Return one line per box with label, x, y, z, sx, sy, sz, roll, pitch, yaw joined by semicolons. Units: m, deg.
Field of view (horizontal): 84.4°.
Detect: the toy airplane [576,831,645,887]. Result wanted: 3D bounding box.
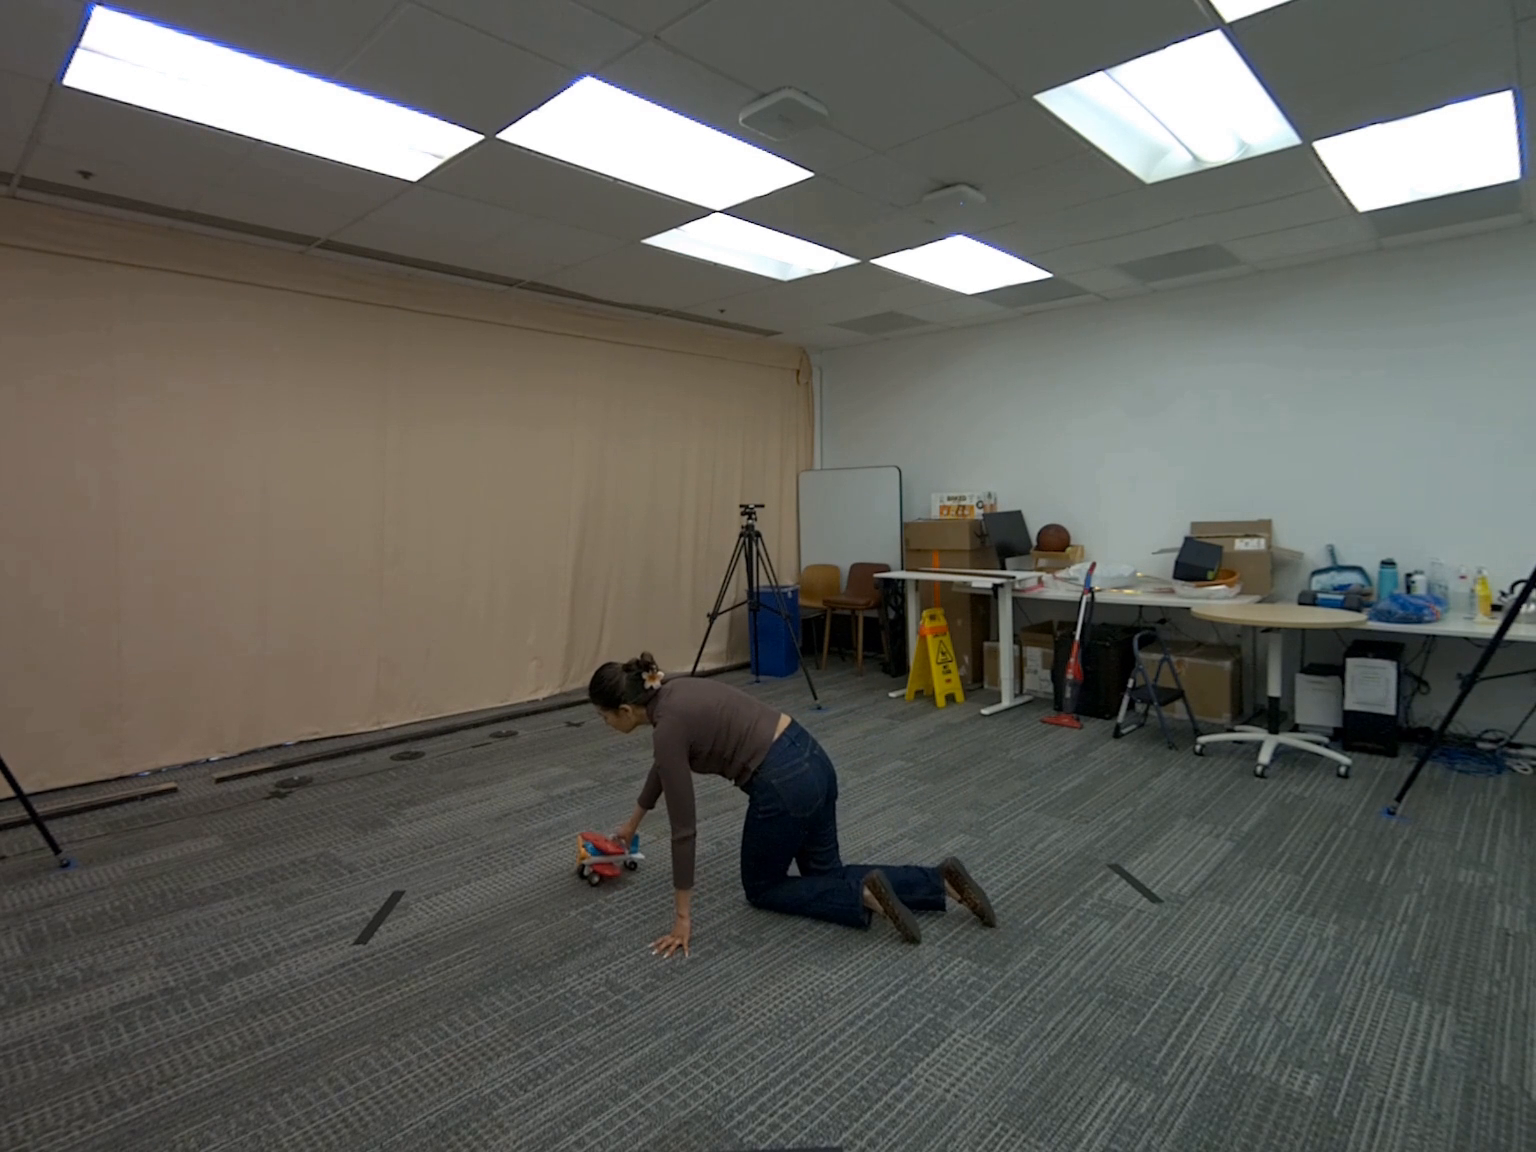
toy airplane;-0.619;1.064;3.201;0.257;0.156;0.254;1;6;24
